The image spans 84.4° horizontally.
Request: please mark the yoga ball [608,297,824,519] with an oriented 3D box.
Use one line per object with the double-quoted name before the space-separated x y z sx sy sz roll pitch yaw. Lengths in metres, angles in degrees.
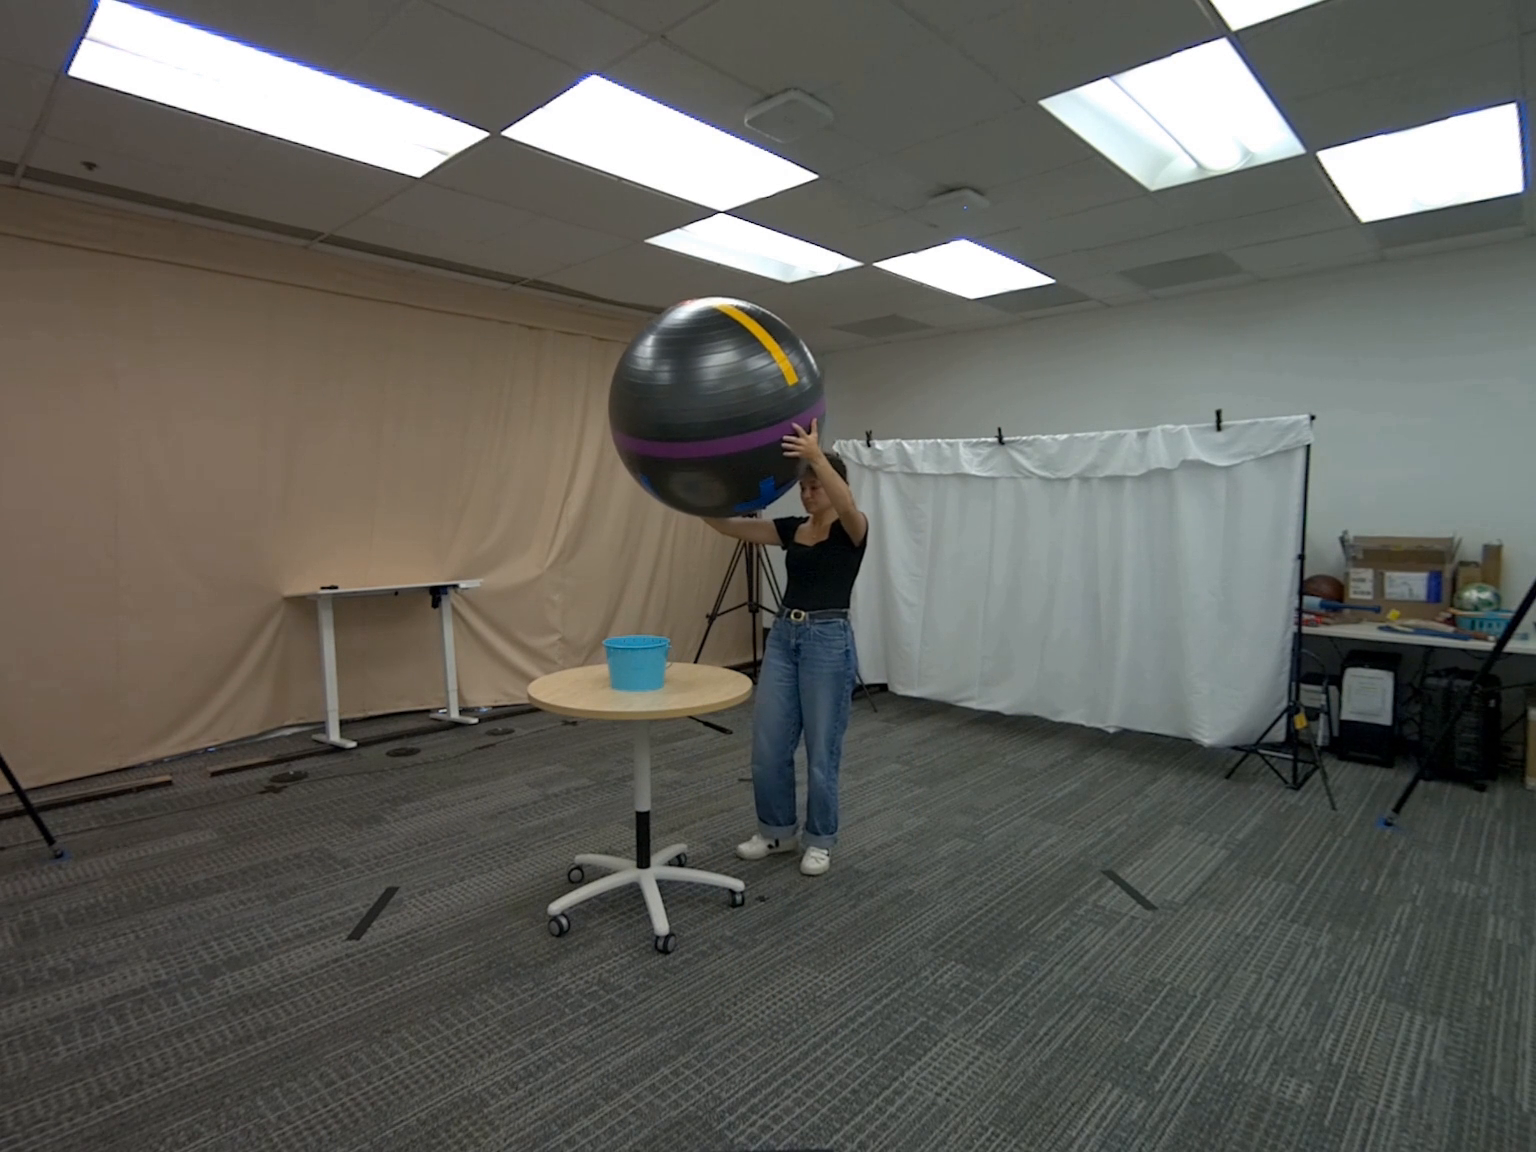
"yoga ball" -0.181 -0.585 2.967 0.757 0.756 0.760 0 4 -2
